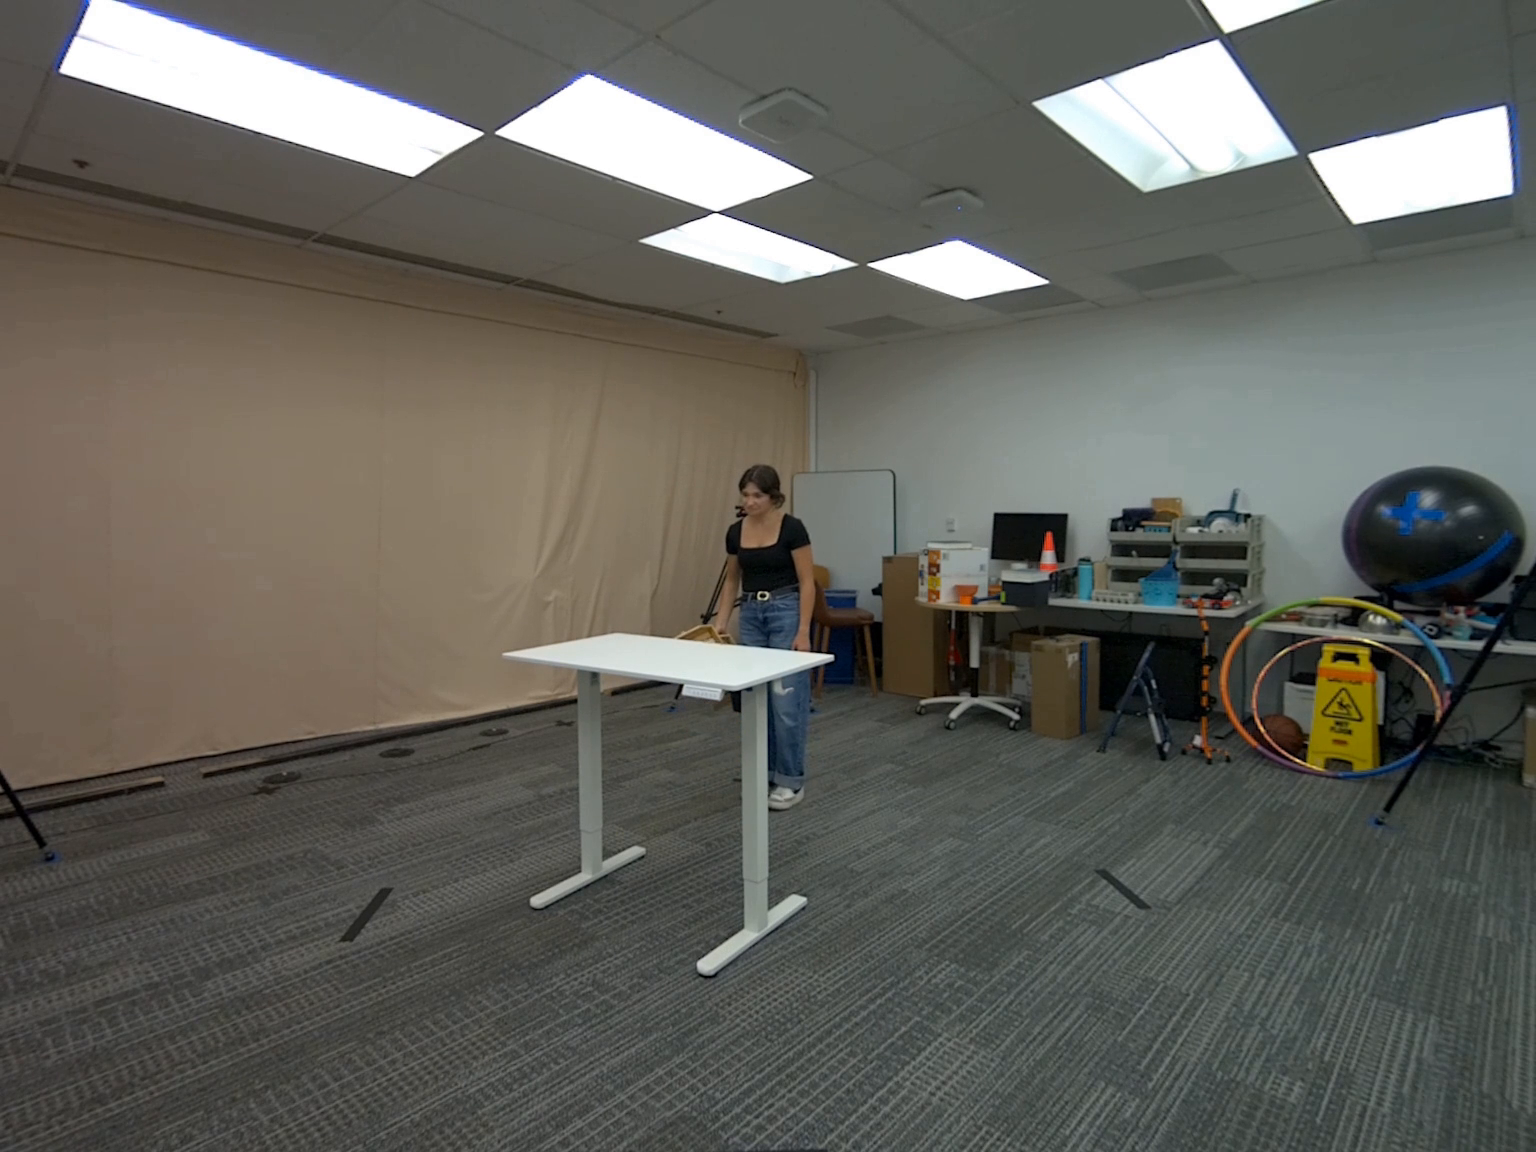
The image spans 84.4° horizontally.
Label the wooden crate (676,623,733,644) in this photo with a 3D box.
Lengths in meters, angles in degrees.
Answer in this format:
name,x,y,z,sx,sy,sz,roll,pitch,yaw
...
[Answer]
name,x,y,z,sx,sy,sz,roll,pitch,yaw
wooden crate,-0.235,0.404,3.918,0.299,0.334,0.268,-25,-32,-16
